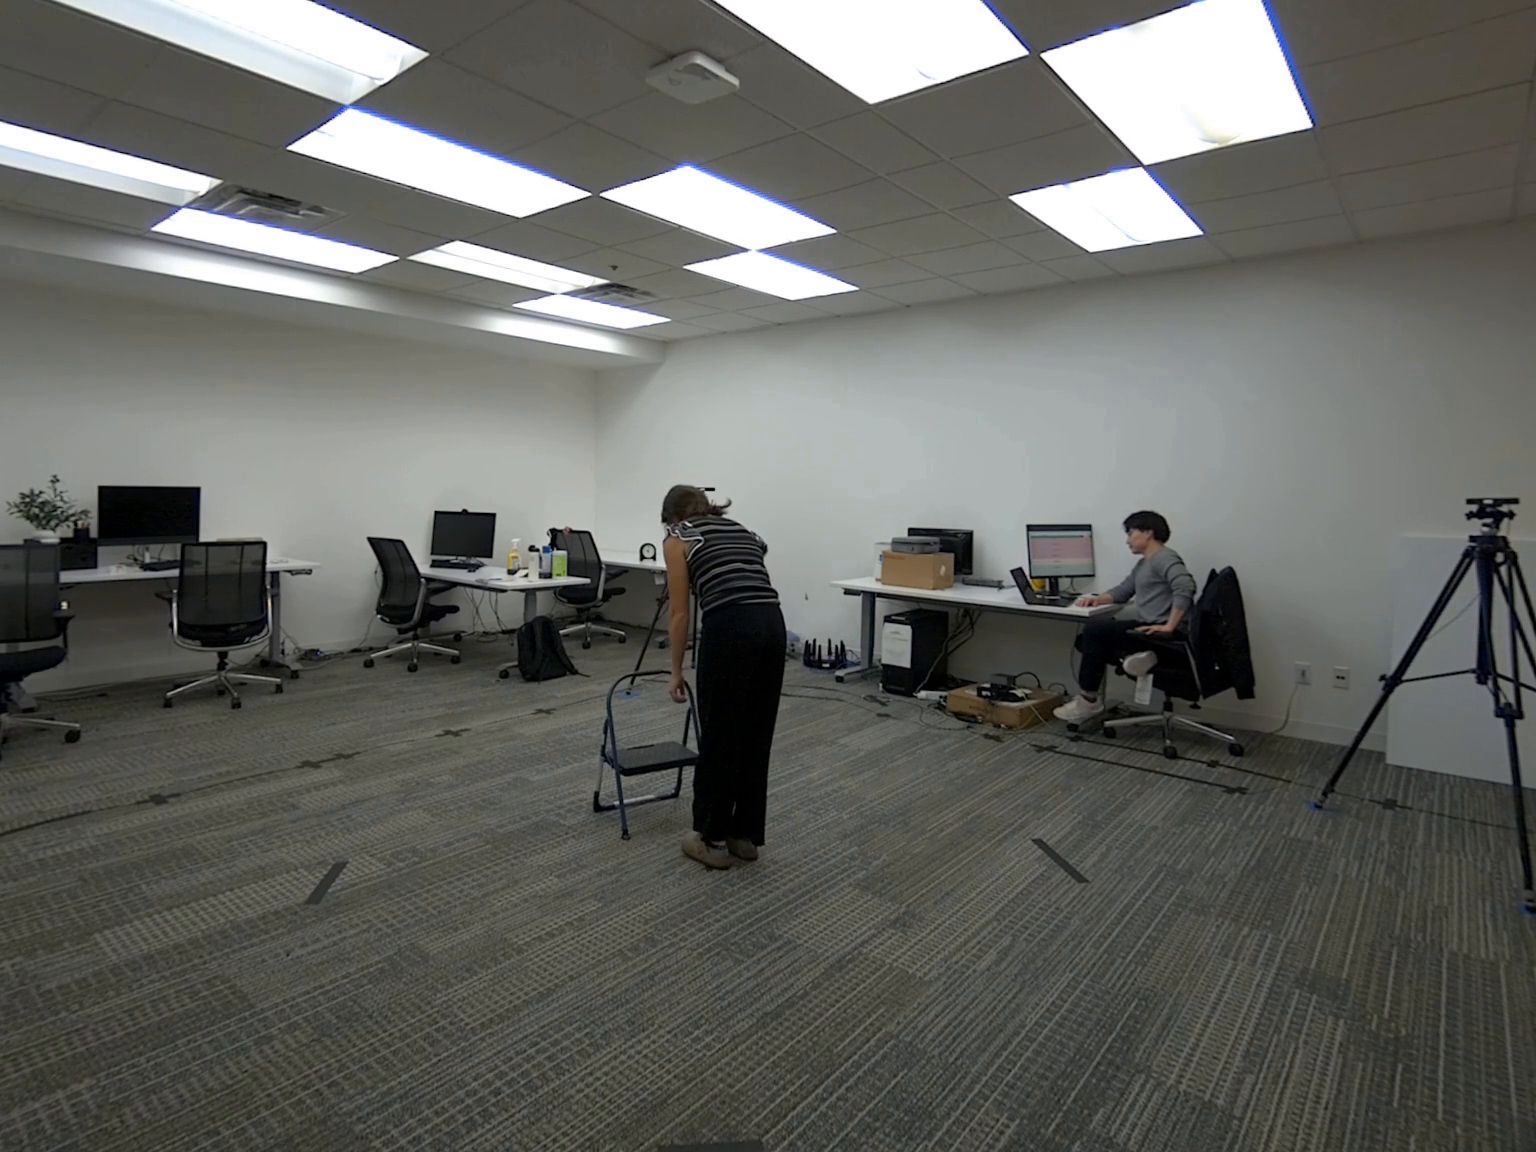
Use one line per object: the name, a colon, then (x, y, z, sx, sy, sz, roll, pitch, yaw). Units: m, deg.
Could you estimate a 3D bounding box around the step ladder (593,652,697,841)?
step ladder: (-0.494, 0.712, 3.590, 0.418, 0.604, 0.360, -1, 4, -33)
